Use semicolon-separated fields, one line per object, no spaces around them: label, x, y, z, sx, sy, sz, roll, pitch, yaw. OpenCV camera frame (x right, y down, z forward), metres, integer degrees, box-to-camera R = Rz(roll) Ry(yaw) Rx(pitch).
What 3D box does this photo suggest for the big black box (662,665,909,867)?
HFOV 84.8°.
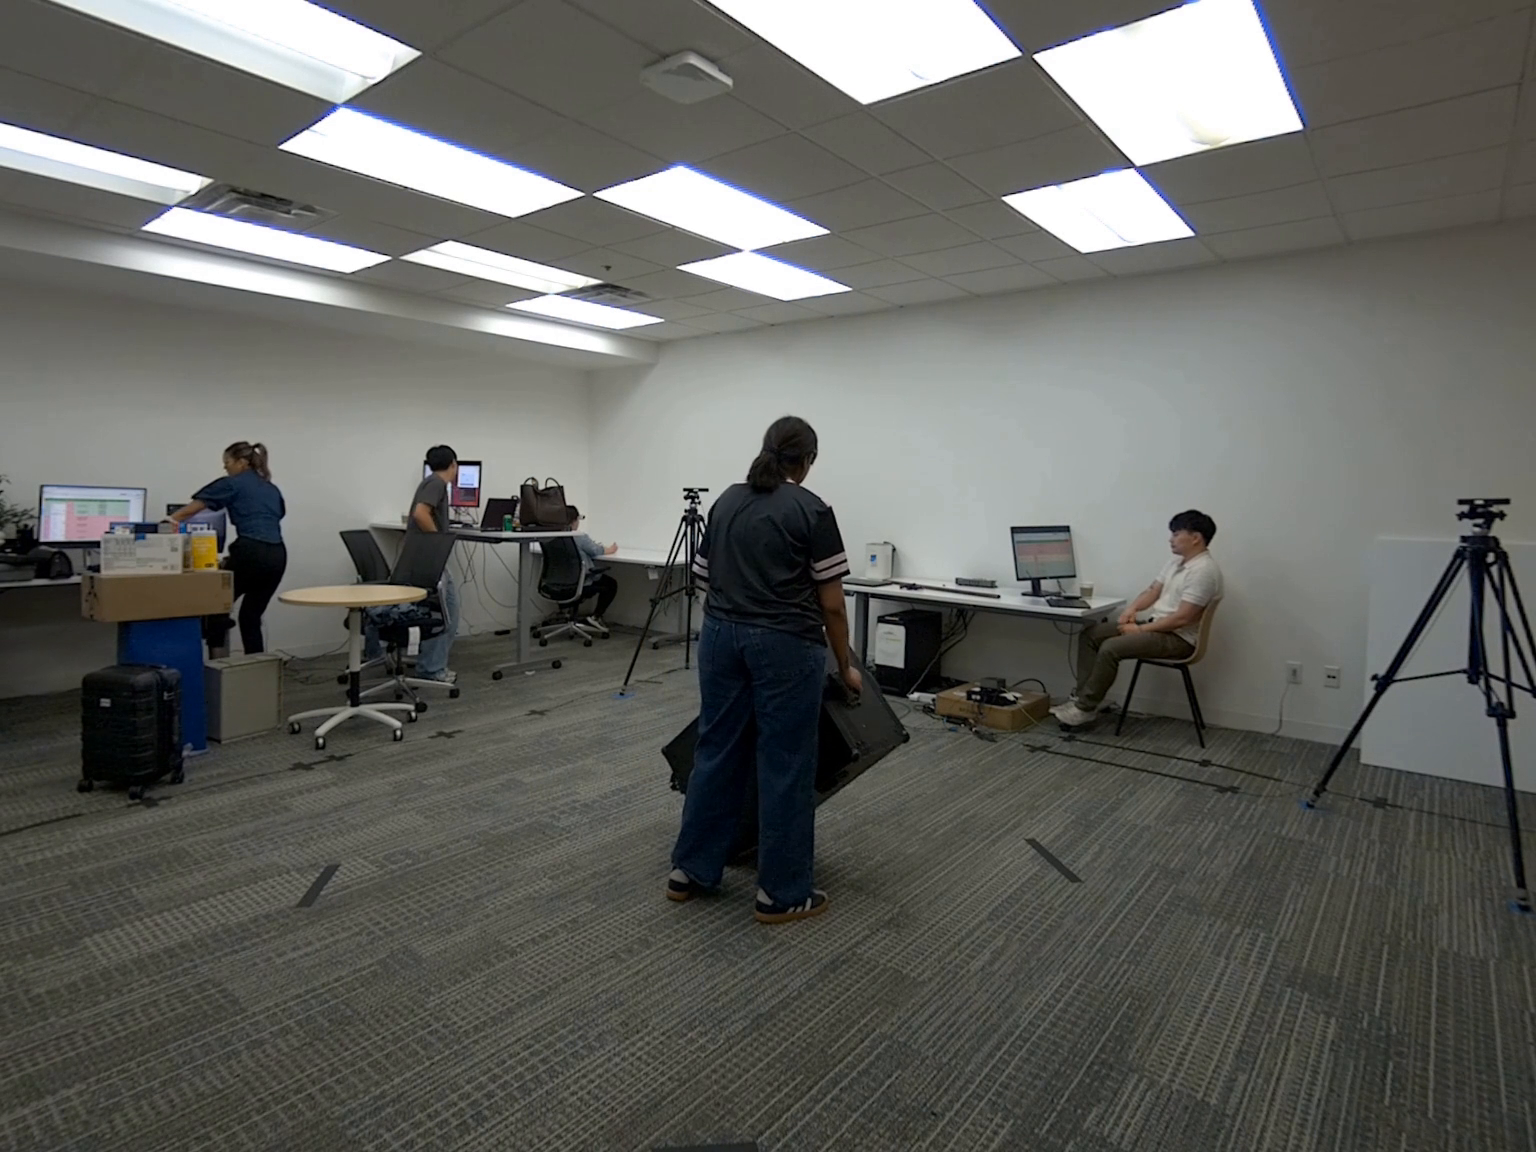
big black box;0.007;0.645;3.209;0.374;0.539;0.868;-4;-36;-51
